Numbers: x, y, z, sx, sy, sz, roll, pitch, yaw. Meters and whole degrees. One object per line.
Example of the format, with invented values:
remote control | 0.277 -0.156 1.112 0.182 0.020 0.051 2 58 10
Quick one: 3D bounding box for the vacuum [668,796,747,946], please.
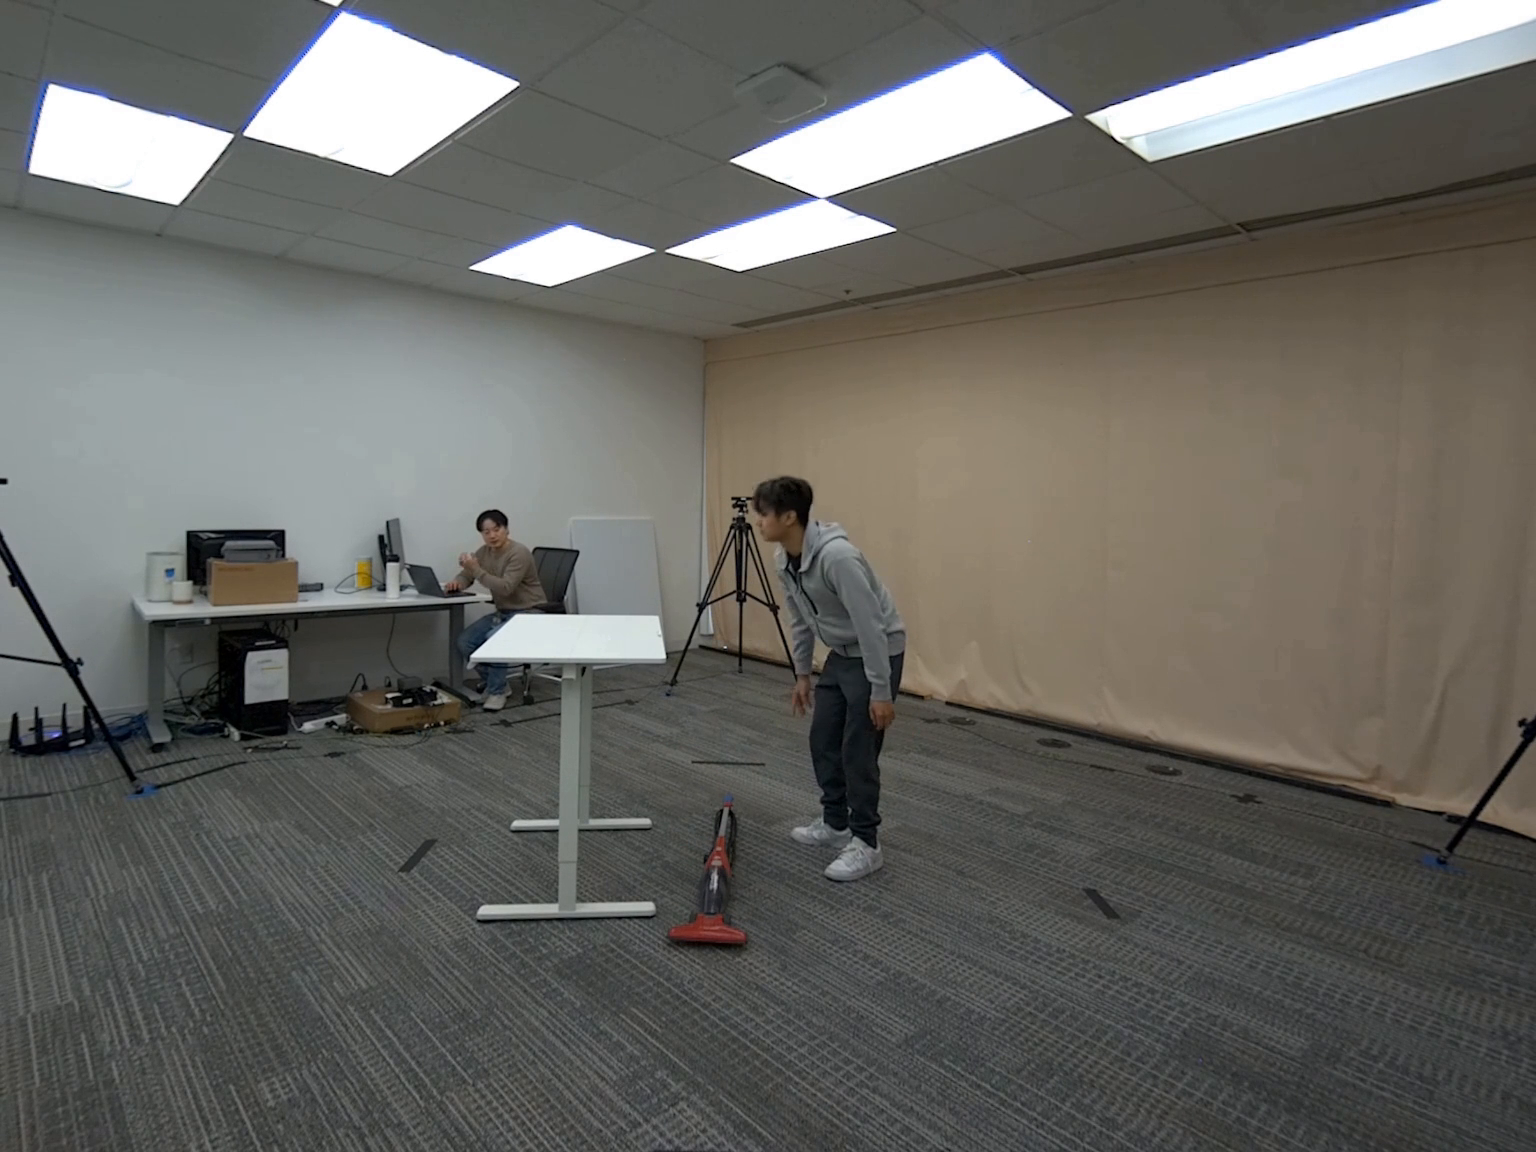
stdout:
vacuum | -0.177 1.034 3.191 0.253 0.143 1.051 5 8 1
